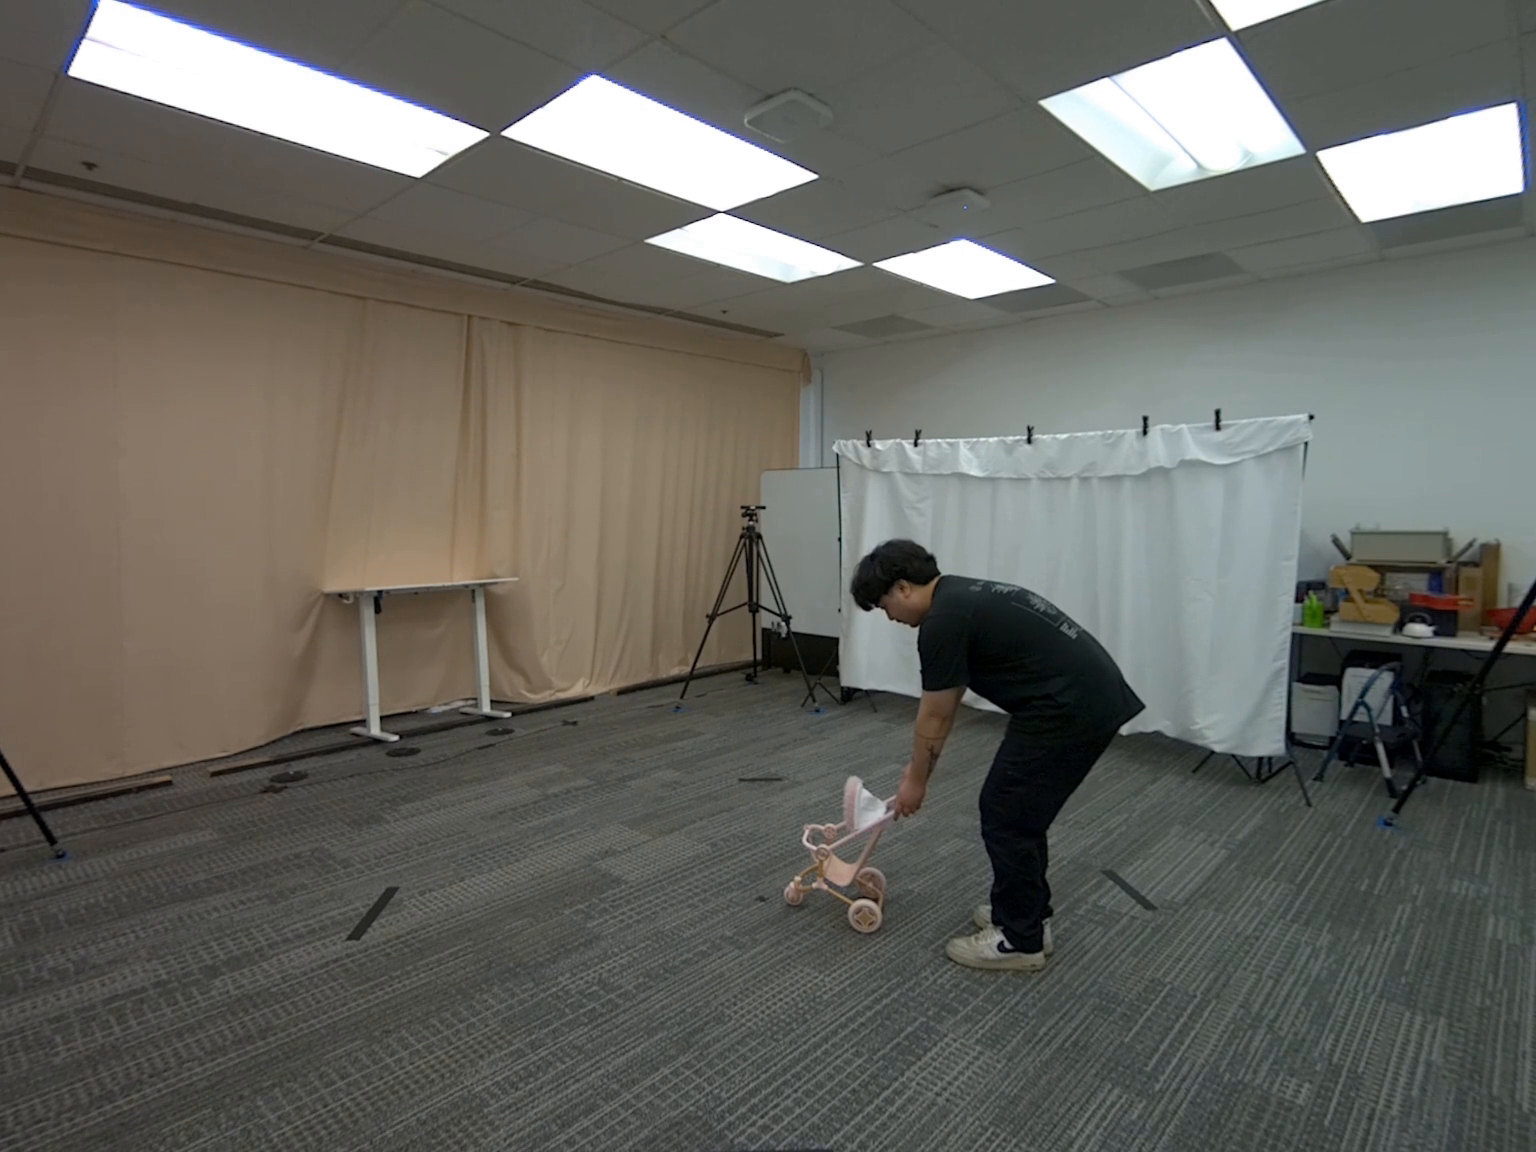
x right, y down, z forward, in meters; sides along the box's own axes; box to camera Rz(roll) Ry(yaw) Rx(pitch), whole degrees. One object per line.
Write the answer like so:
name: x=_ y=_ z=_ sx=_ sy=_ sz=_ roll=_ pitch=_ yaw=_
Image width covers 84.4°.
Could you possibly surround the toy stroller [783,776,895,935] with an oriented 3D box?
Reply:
toy stroller: x=0.283 y=0.927 z=2.877 sx=0.349 sy=0.533 sz=0.276 roll=17 pitch=8 yaw=17
